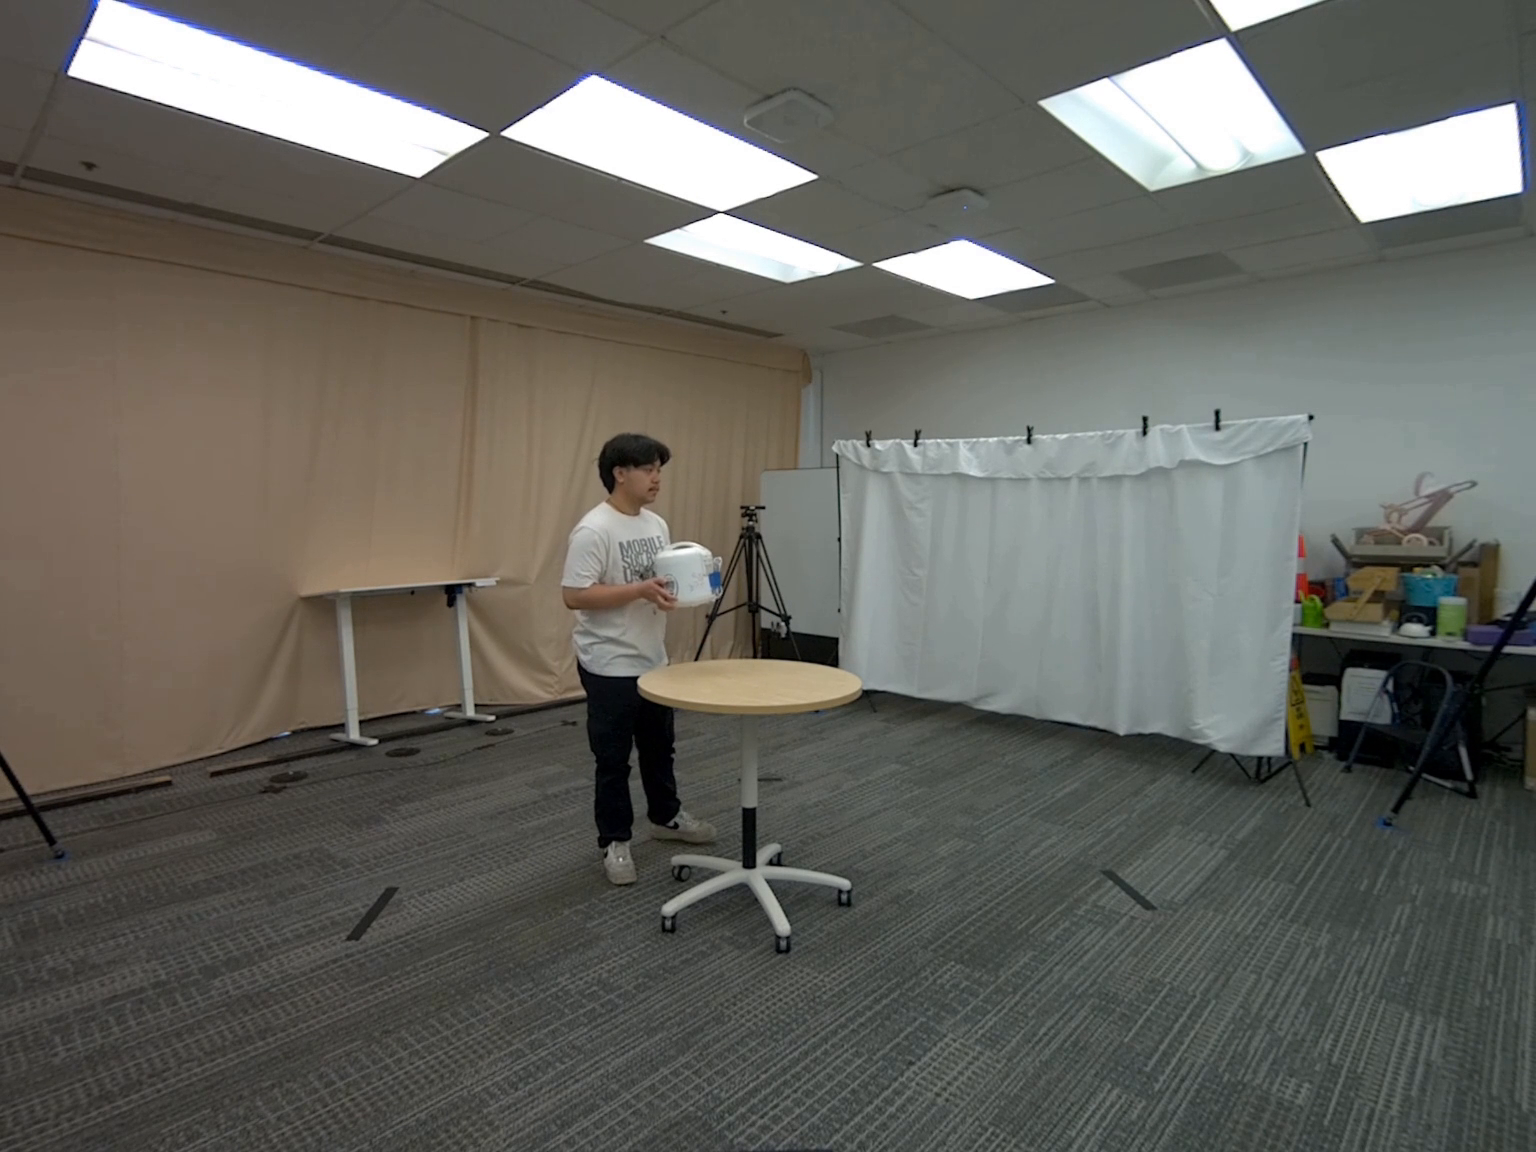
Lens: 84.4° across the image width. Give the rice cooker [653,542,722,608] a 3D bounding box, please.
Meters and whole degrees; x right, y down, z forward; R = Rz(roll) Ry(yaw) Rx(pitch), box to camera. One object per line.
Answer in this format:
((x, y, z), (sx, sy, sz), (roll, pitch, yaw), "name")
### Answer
((-0.294, -0.009, 3.064), (0.226, 0.233, 0.212), (-7, 0, 27), "rice cooker")
